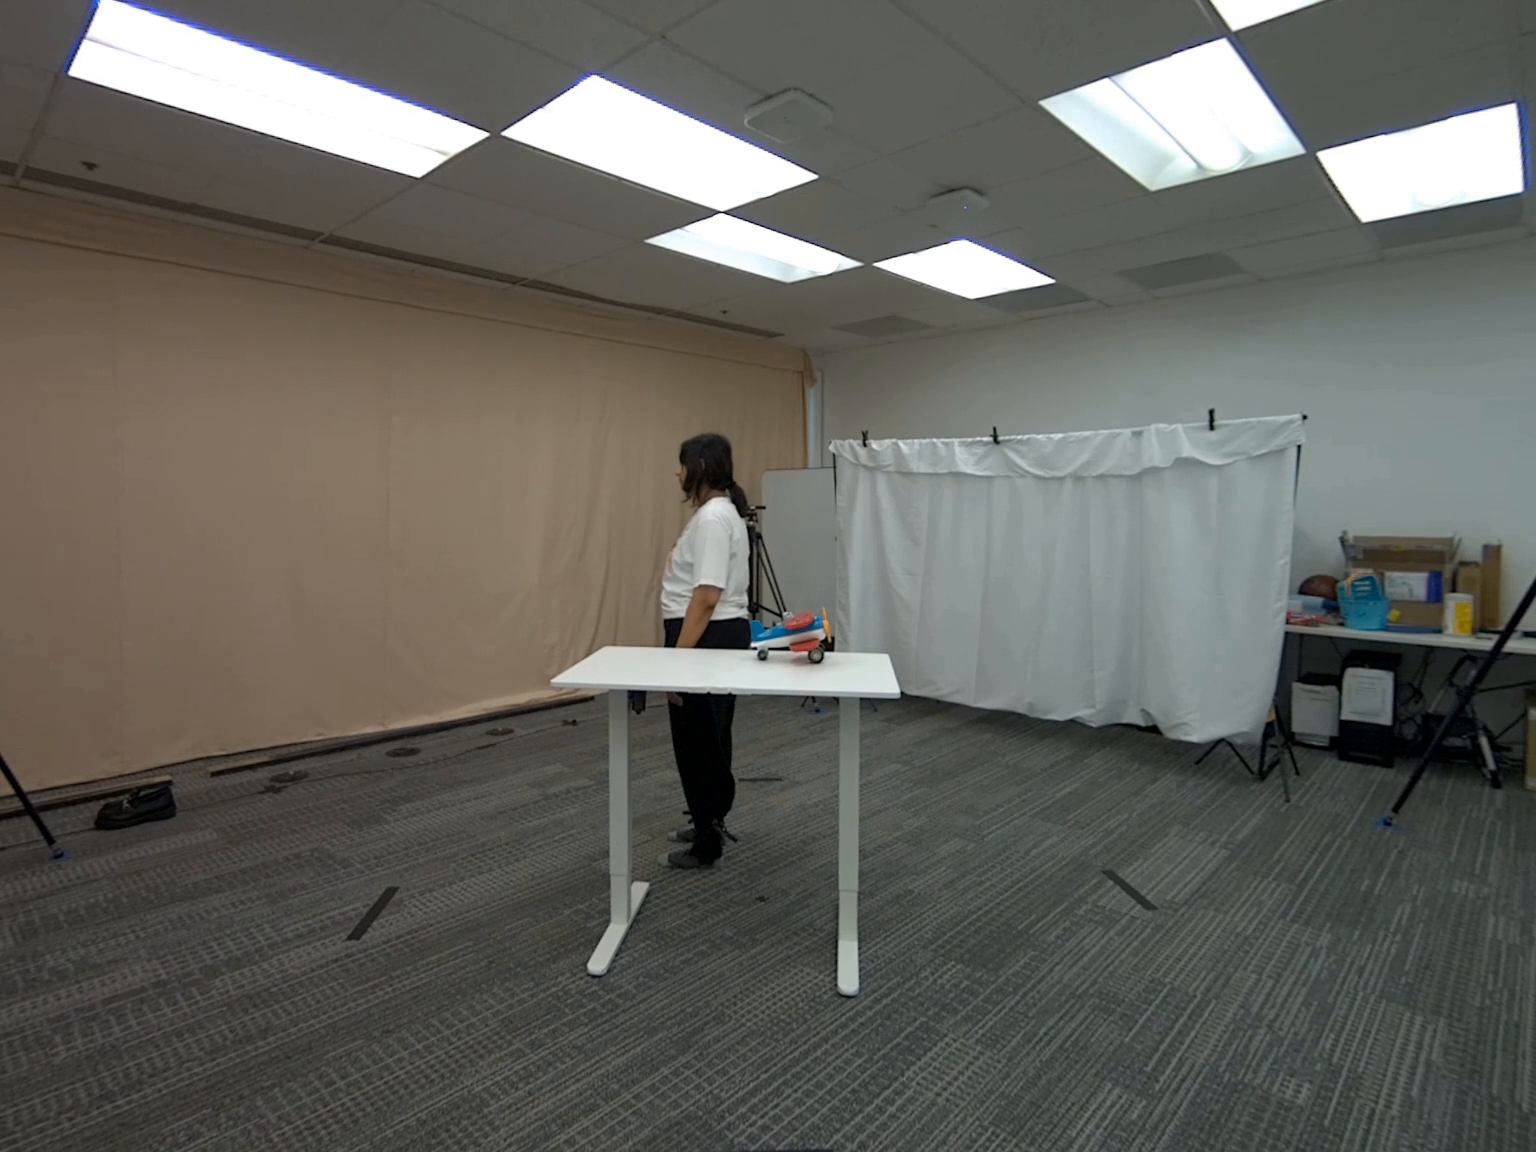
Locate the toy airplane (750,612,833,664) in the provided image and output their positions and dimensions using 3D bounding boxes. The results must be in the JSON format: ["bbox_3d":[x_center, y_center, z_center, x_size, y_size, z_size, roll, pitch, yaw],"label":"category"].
[{"bbox_3d":[0.084,0.204,2.754,0.254,0.156,0.257,-1,3,-22],"label":"toy airplane"}]
